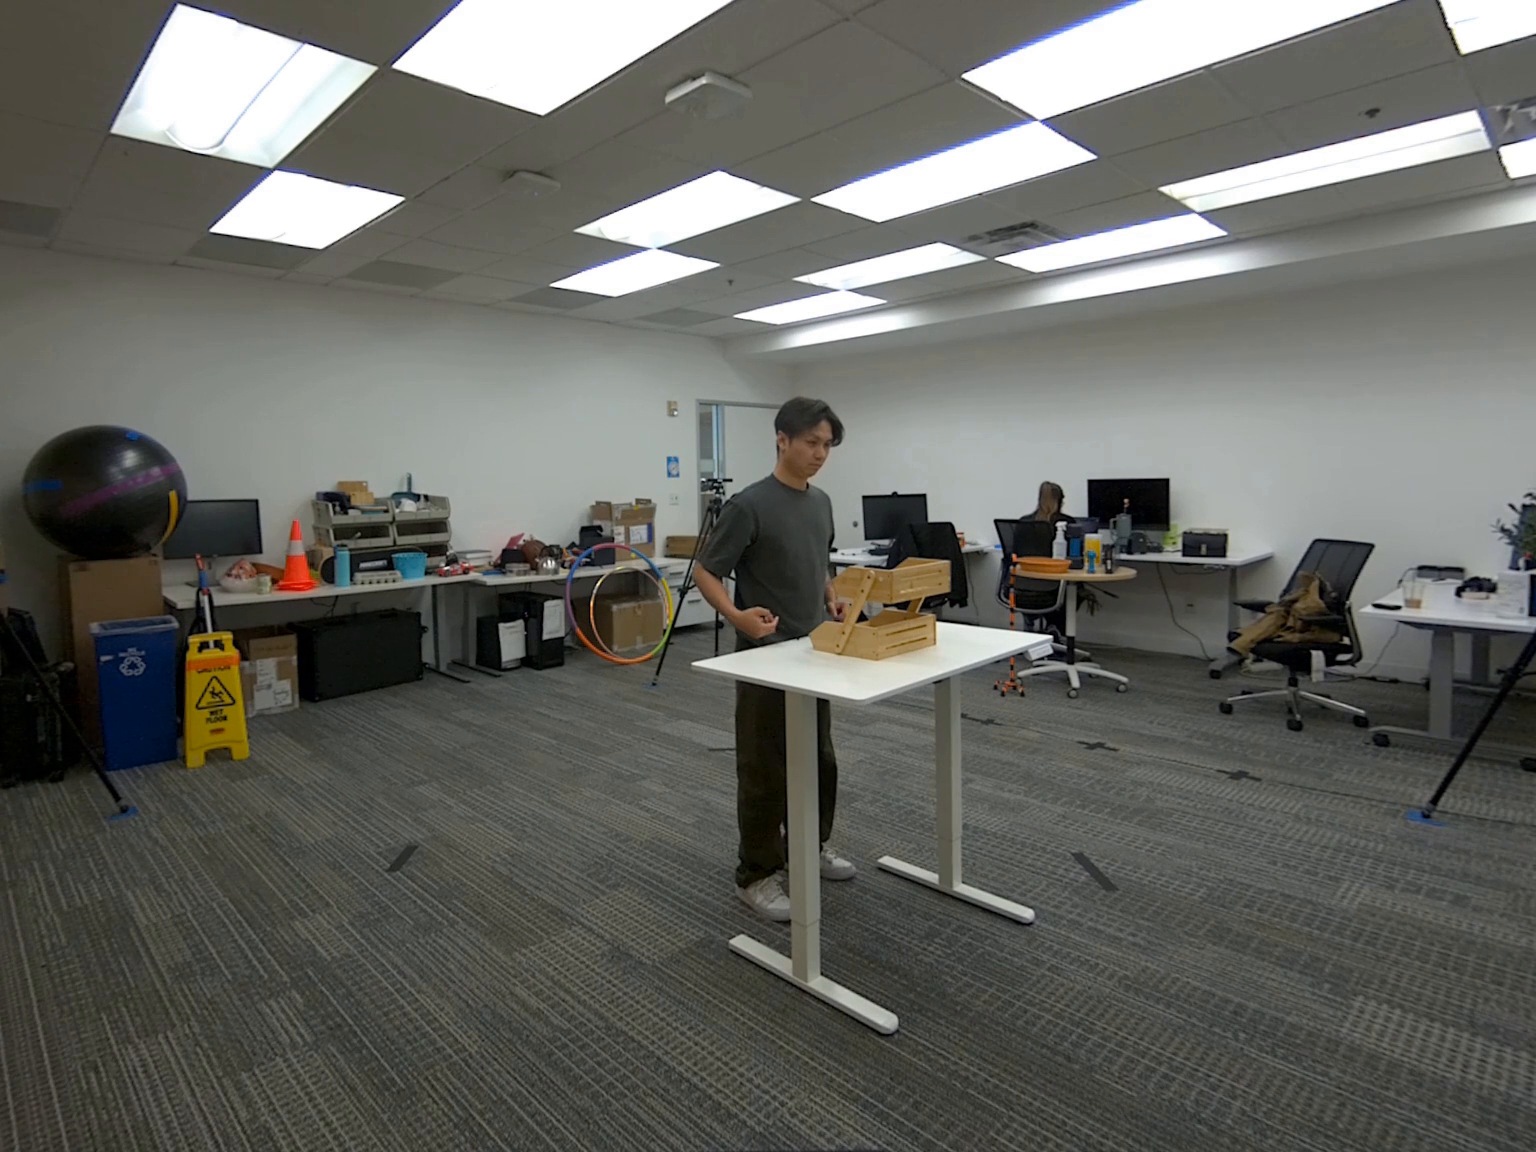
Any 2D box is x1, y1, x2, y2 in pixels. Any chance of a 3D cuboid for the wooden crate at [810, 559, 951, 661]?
[{"bbox_3d":[0.334,0.085,2.560,0.316,0.272,0.311,-7,9,-44],"label":"wooden crate"}]
